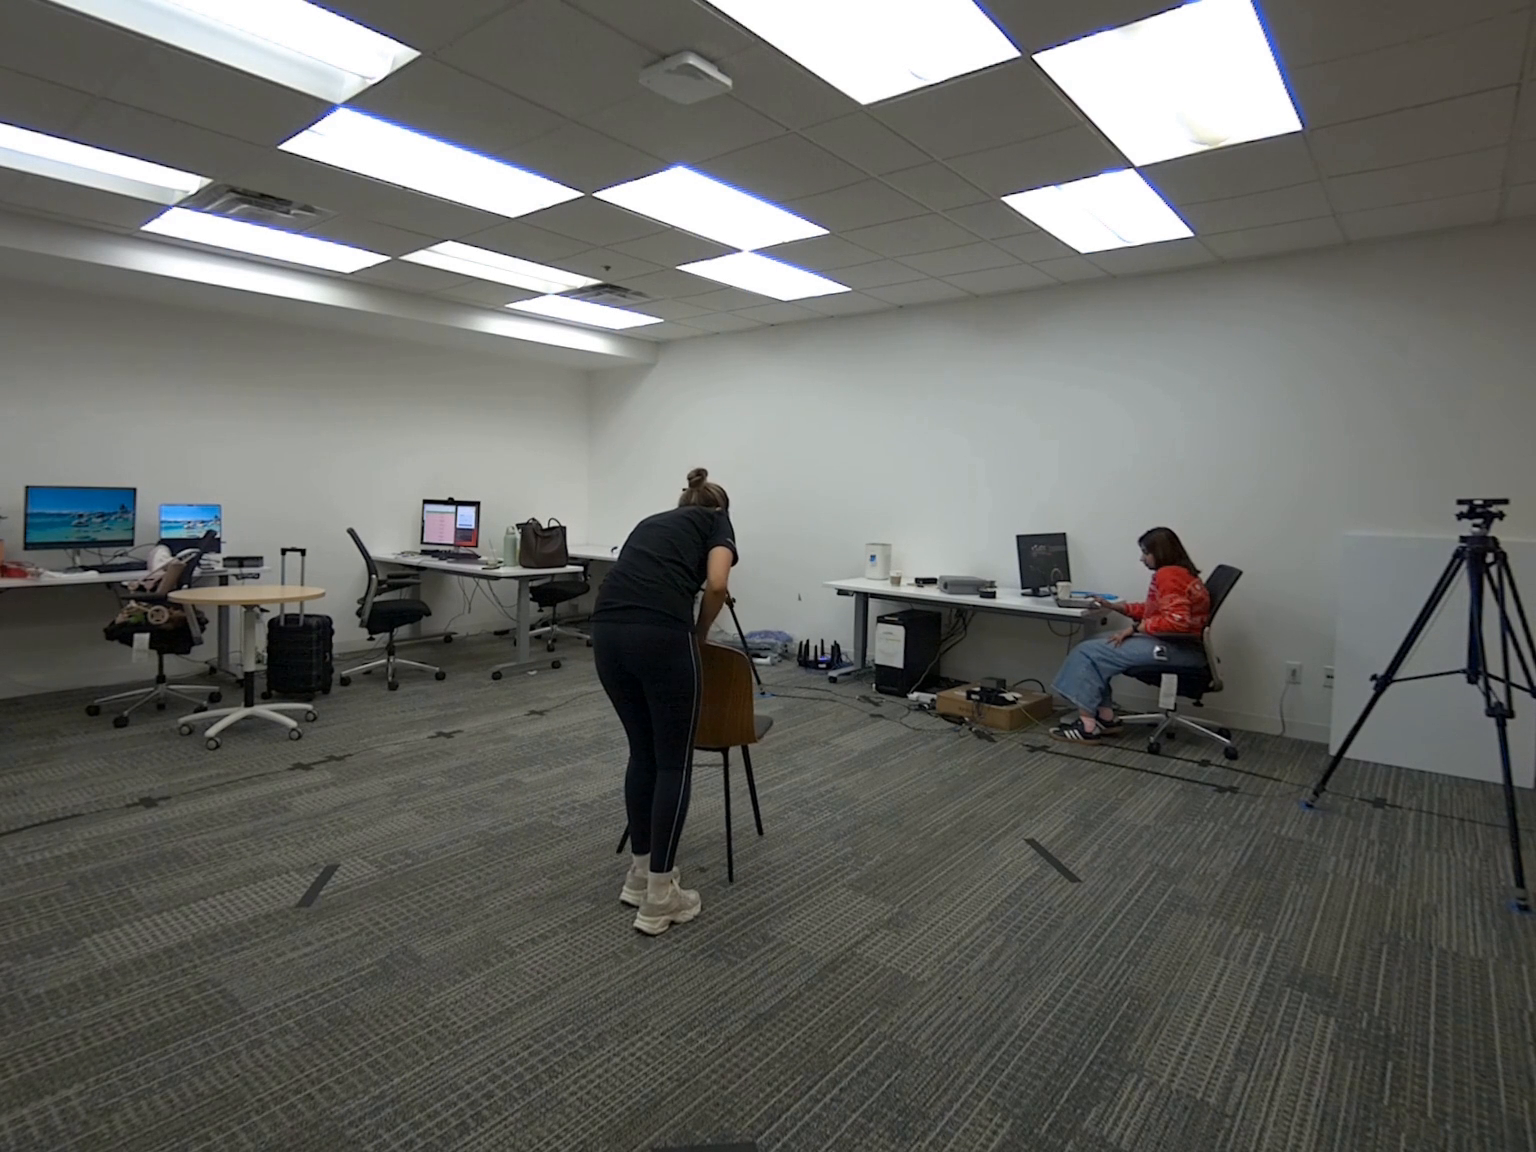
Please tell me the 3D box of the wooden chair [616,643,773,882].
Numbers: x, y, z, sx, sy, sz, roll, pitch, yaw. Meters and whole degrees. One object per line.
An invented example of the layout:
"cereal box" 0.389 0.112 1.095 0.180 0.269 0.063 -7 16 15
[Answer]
"wooden chair" -0.250 0.609 3.251 0.487 0.871 0.518 7 9 15
